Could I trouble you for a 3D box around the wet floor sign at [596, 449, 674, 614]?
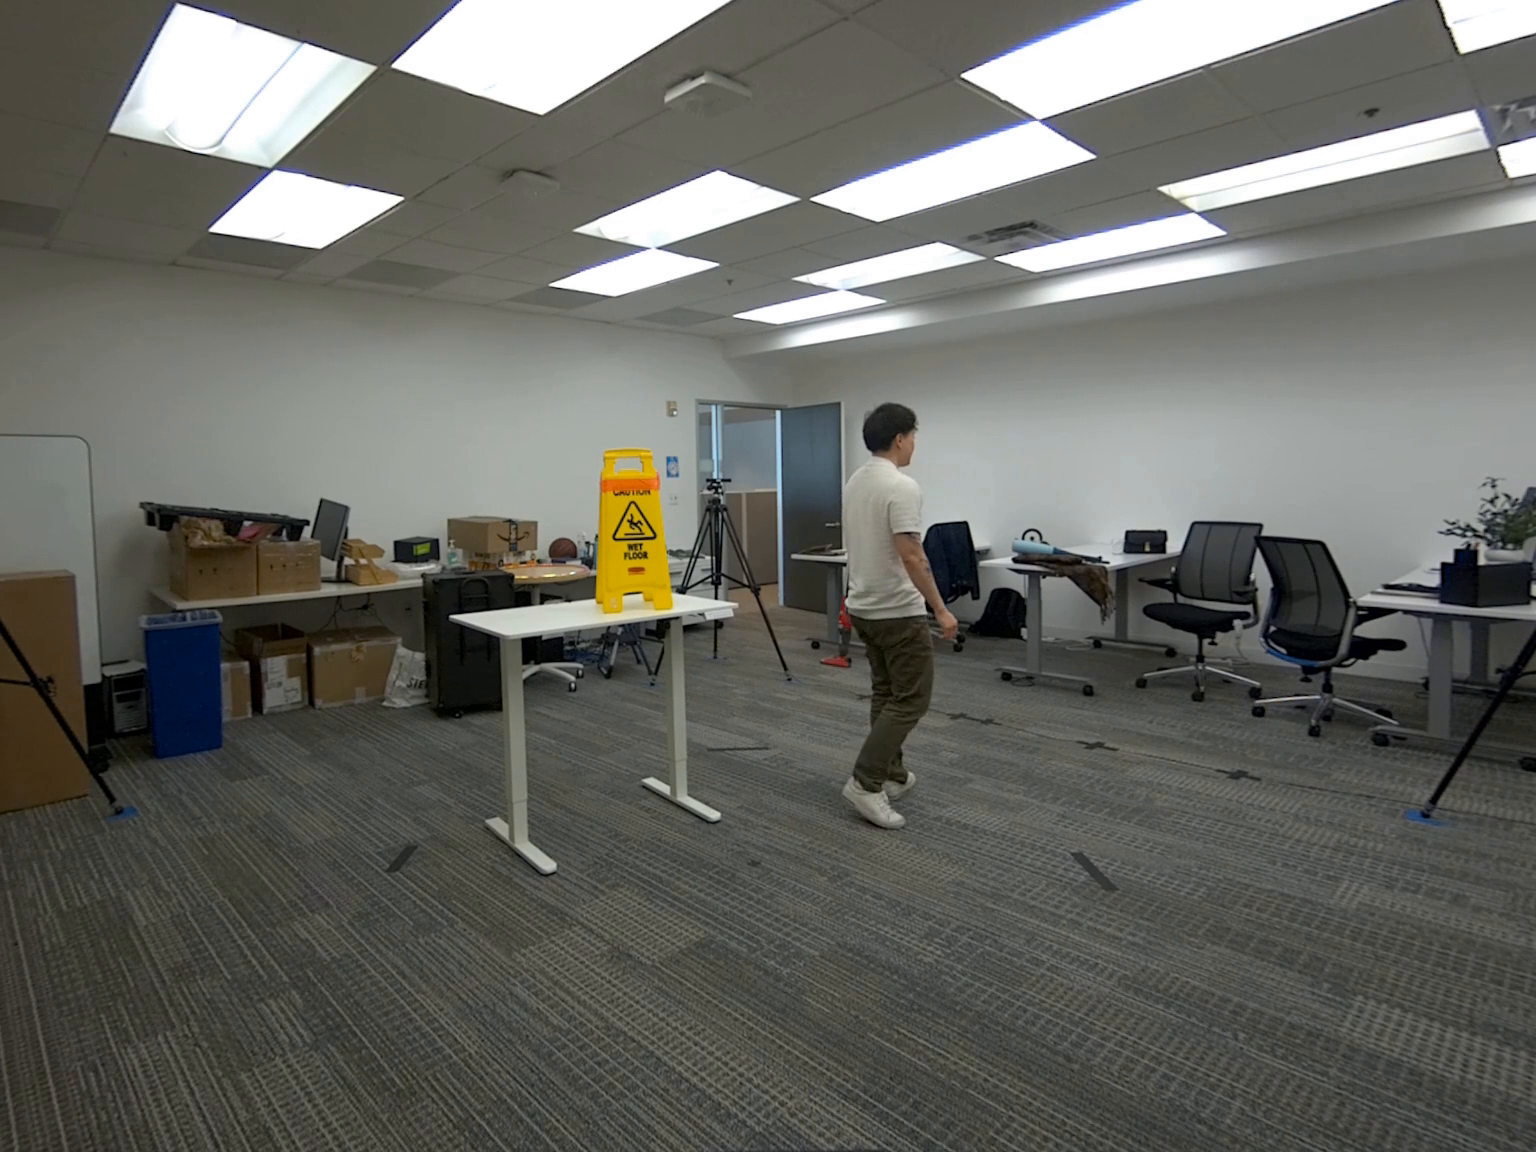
[{"bbox_3d":[-0.565,-0.193,3.496,0.279,0.643,0.295,-4,5,-15],"label":"wet floor sign"}]
